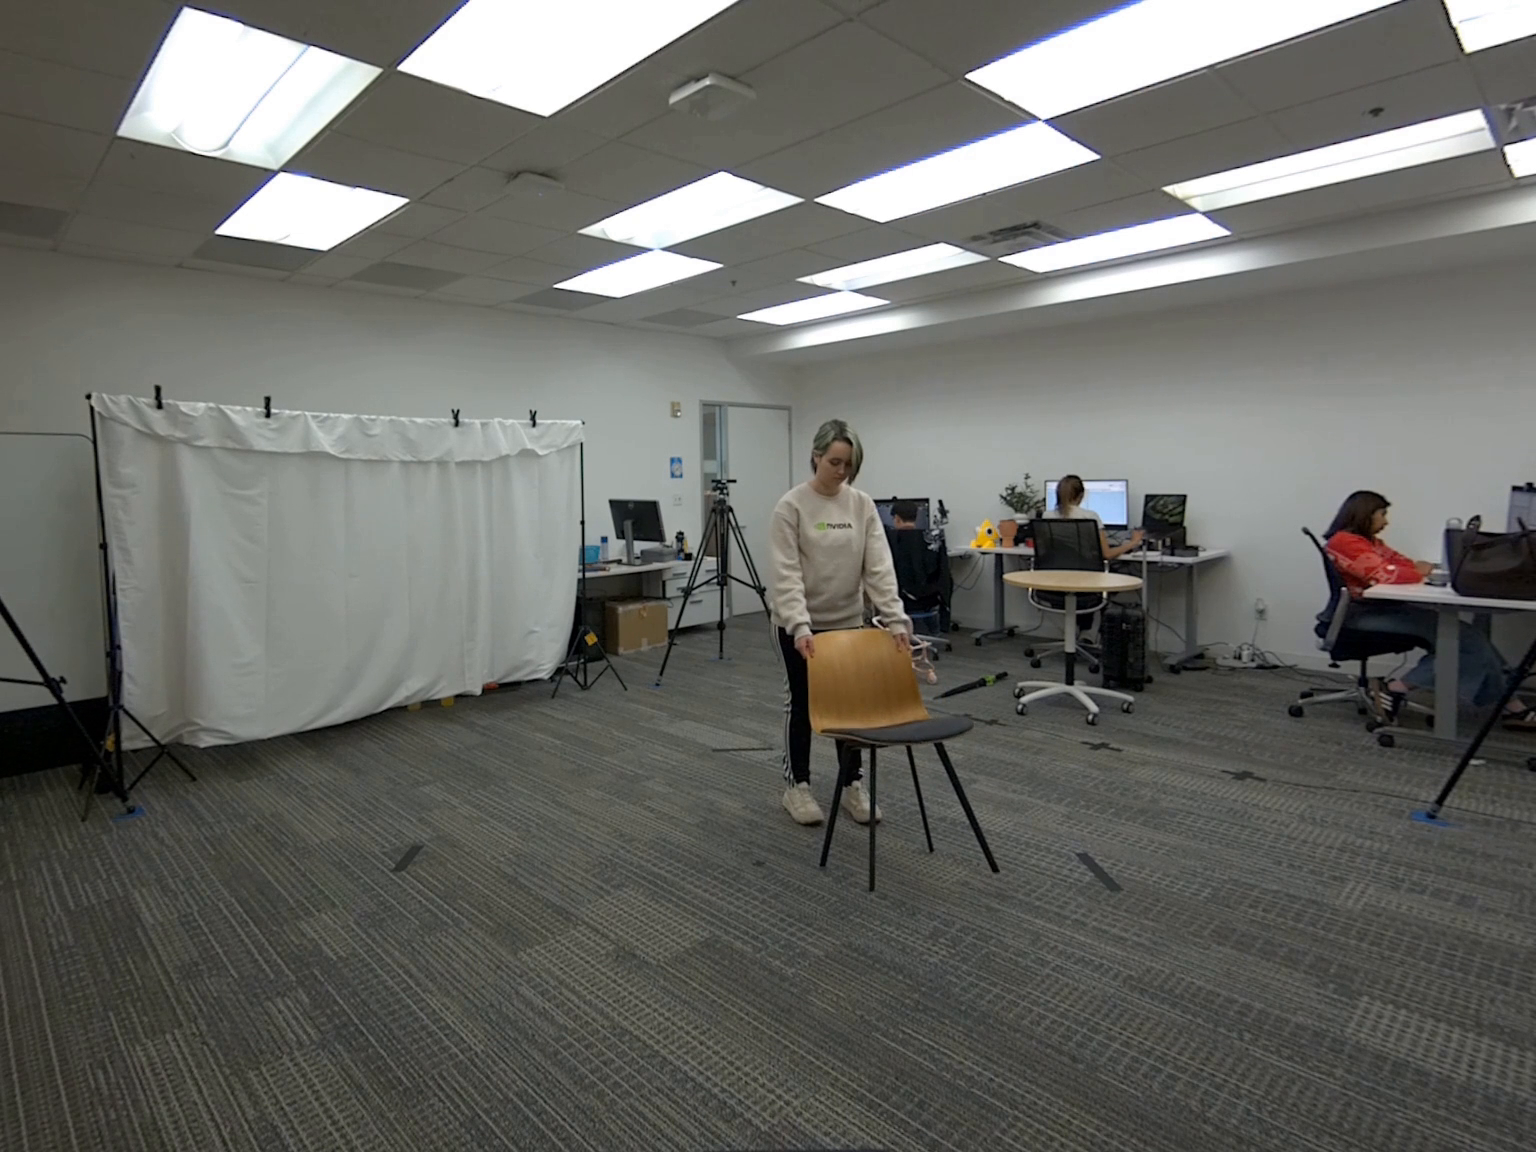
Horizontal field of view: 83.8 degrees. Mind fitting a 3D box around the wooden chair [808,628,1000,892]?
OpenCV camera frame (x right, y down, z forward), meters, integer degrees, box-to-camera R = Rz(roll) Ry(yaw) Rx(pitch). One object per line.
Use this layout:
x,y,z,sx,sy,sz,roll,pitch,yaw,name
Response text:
0.427,0.585,2.976,0.471,0.890,0.523,-2,-14,-16,wooden chair
